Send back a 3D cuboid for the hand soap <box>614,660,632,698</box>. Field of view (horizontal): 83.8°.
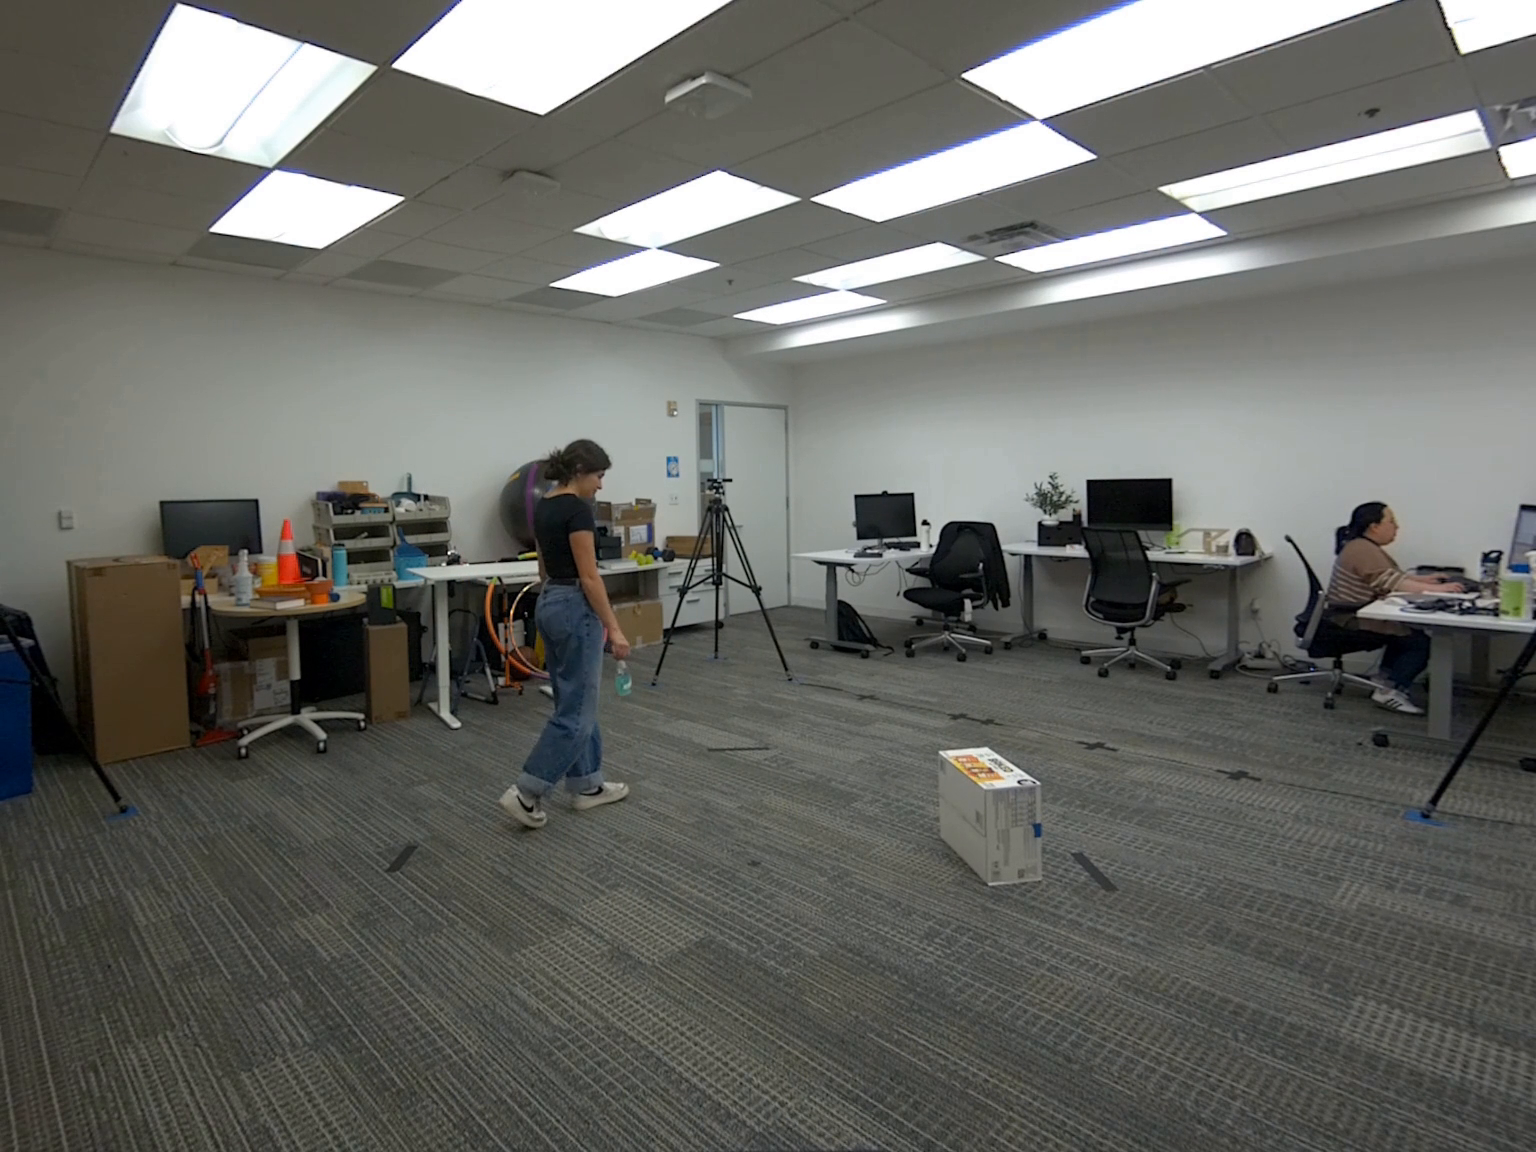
[{"bbox_3d":[-0.594,0.396,3.466,0.044,0.168,0.083,-5,2,29],"label":"hand soap"}]
